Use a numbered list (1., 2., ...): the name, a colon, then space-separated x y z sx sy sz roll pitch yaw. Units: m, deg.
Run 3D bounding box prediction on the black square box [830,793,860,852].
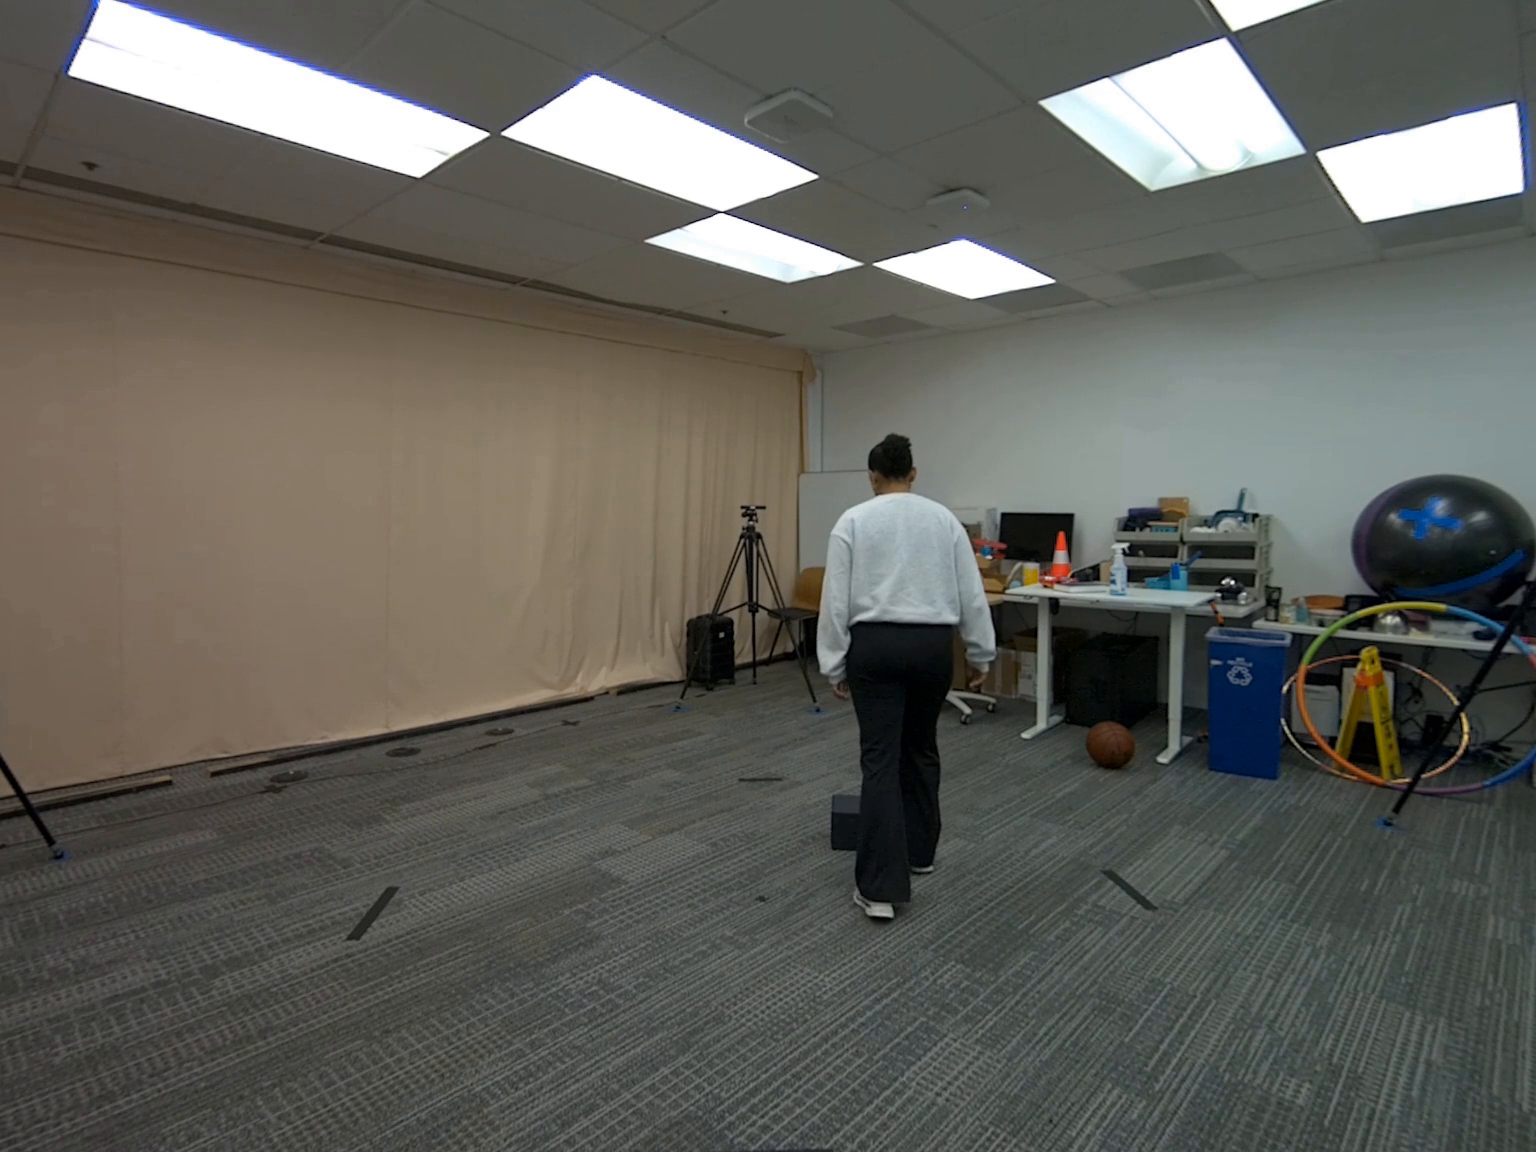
1. black square box: 0.384 1.018 3.487 0.230 0.155 0.216 1 4 6
